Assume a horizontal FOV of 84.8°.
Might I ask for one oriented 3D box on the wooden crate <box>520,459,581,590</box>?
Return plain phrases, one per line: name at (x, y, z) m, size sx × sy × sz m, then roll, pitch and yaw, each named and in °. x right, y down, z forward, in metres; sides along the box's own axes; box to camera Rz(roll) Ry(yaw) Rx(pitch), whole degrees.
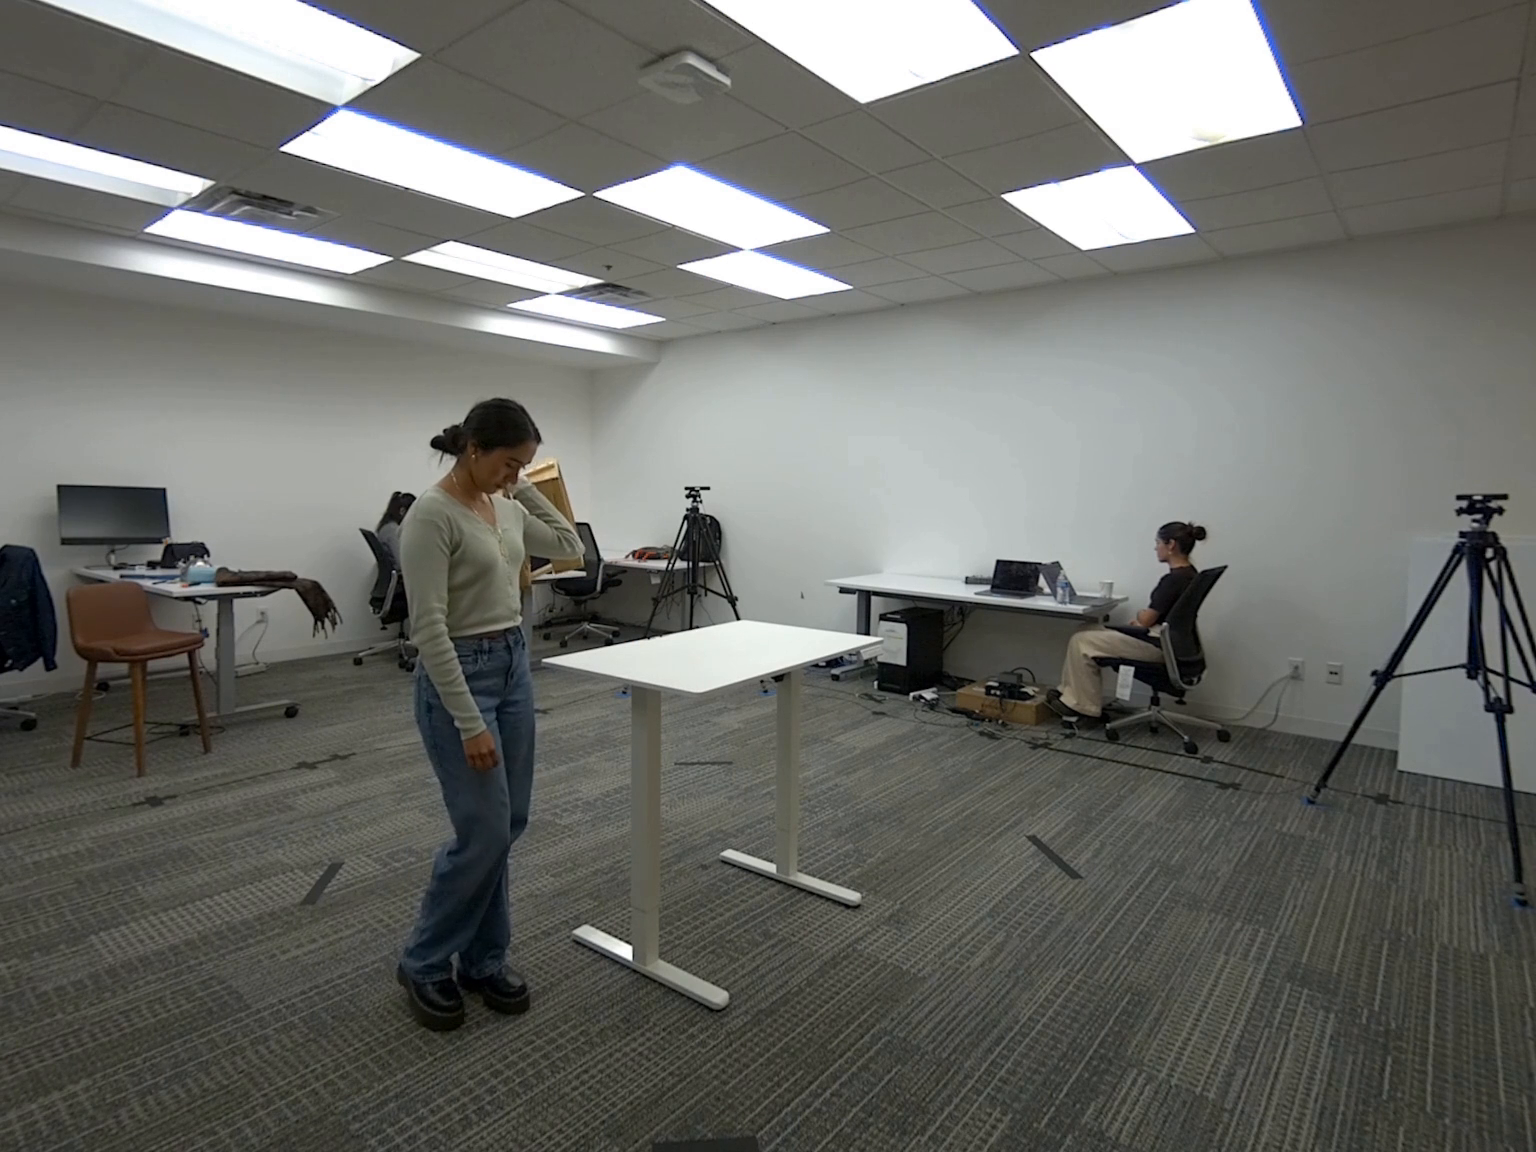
wooden crate at (-0.773, -0.167, 2.646) m, size 0.272 × 0.317 × 0.311 m, roll -15°, pitch 23°, yaw -8°
